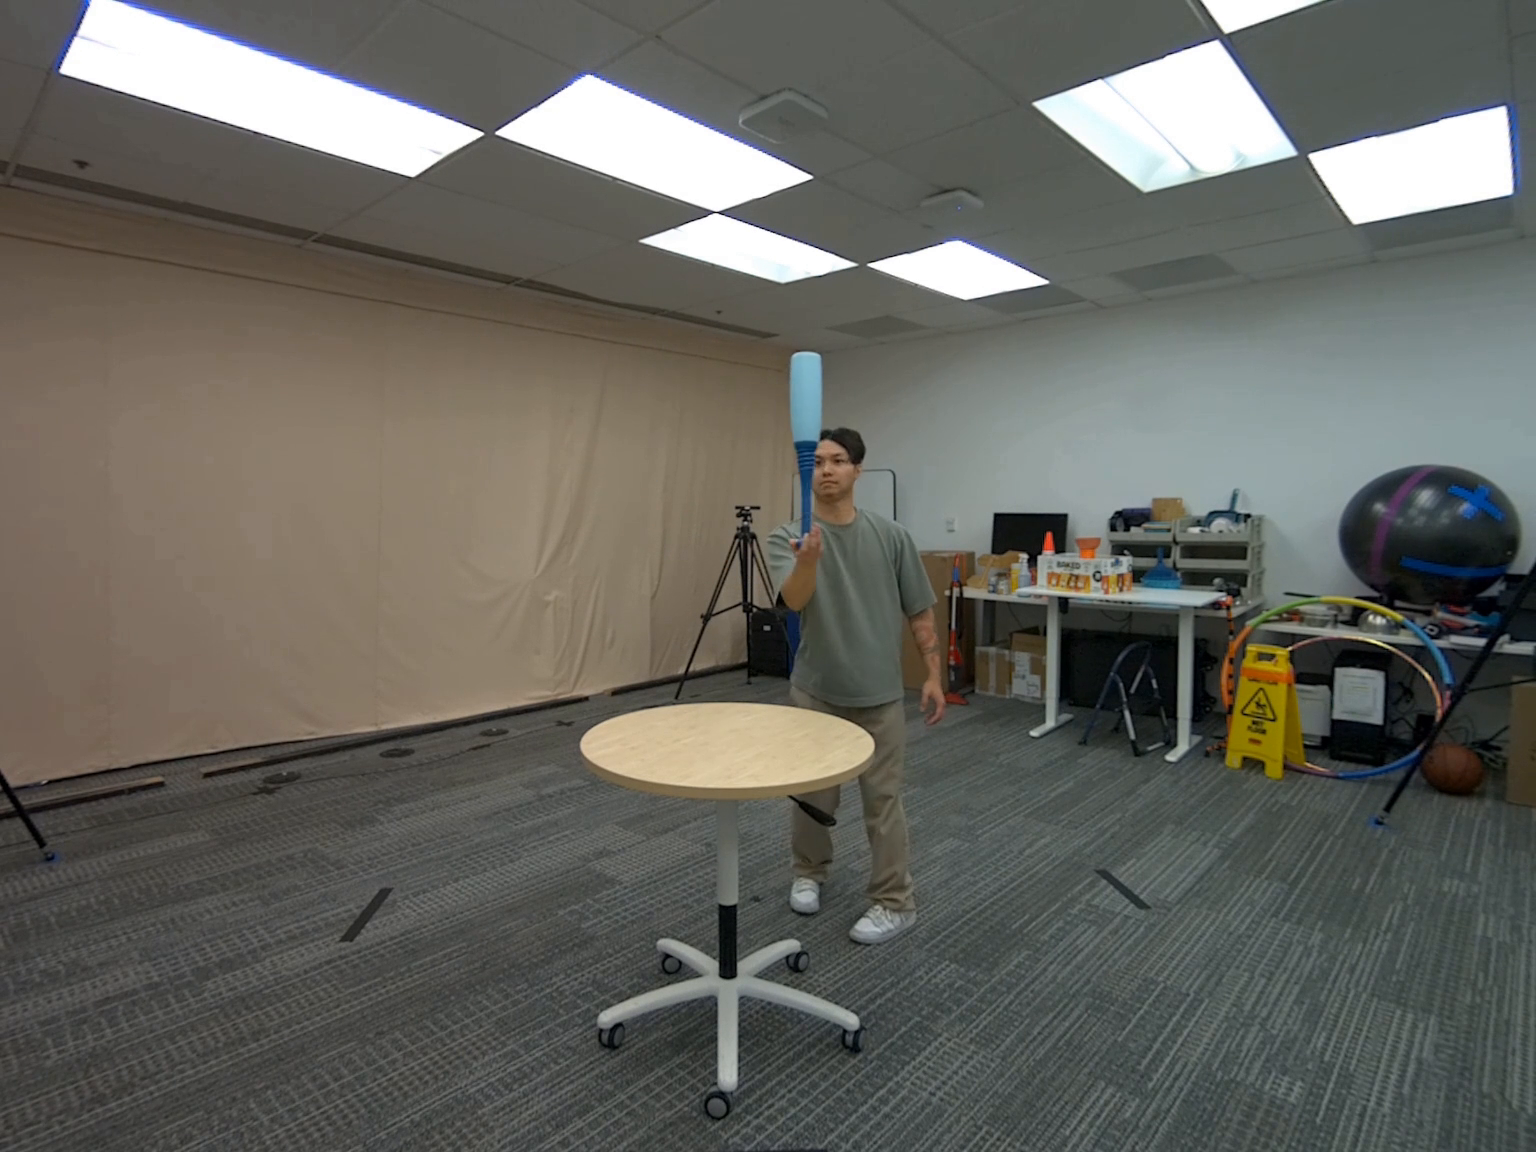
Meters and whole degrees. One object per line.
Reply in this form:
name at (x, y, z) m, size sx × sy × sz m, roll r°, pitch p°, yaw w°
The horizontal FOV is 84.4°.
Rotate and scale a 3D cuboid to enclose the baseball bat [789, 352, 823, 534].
baseball bat at (0.111, -0.351, 2.326) m, size 0.089 × 0.544 × 0.089 m, roll 0°, pitch -4°, yaw -2°
